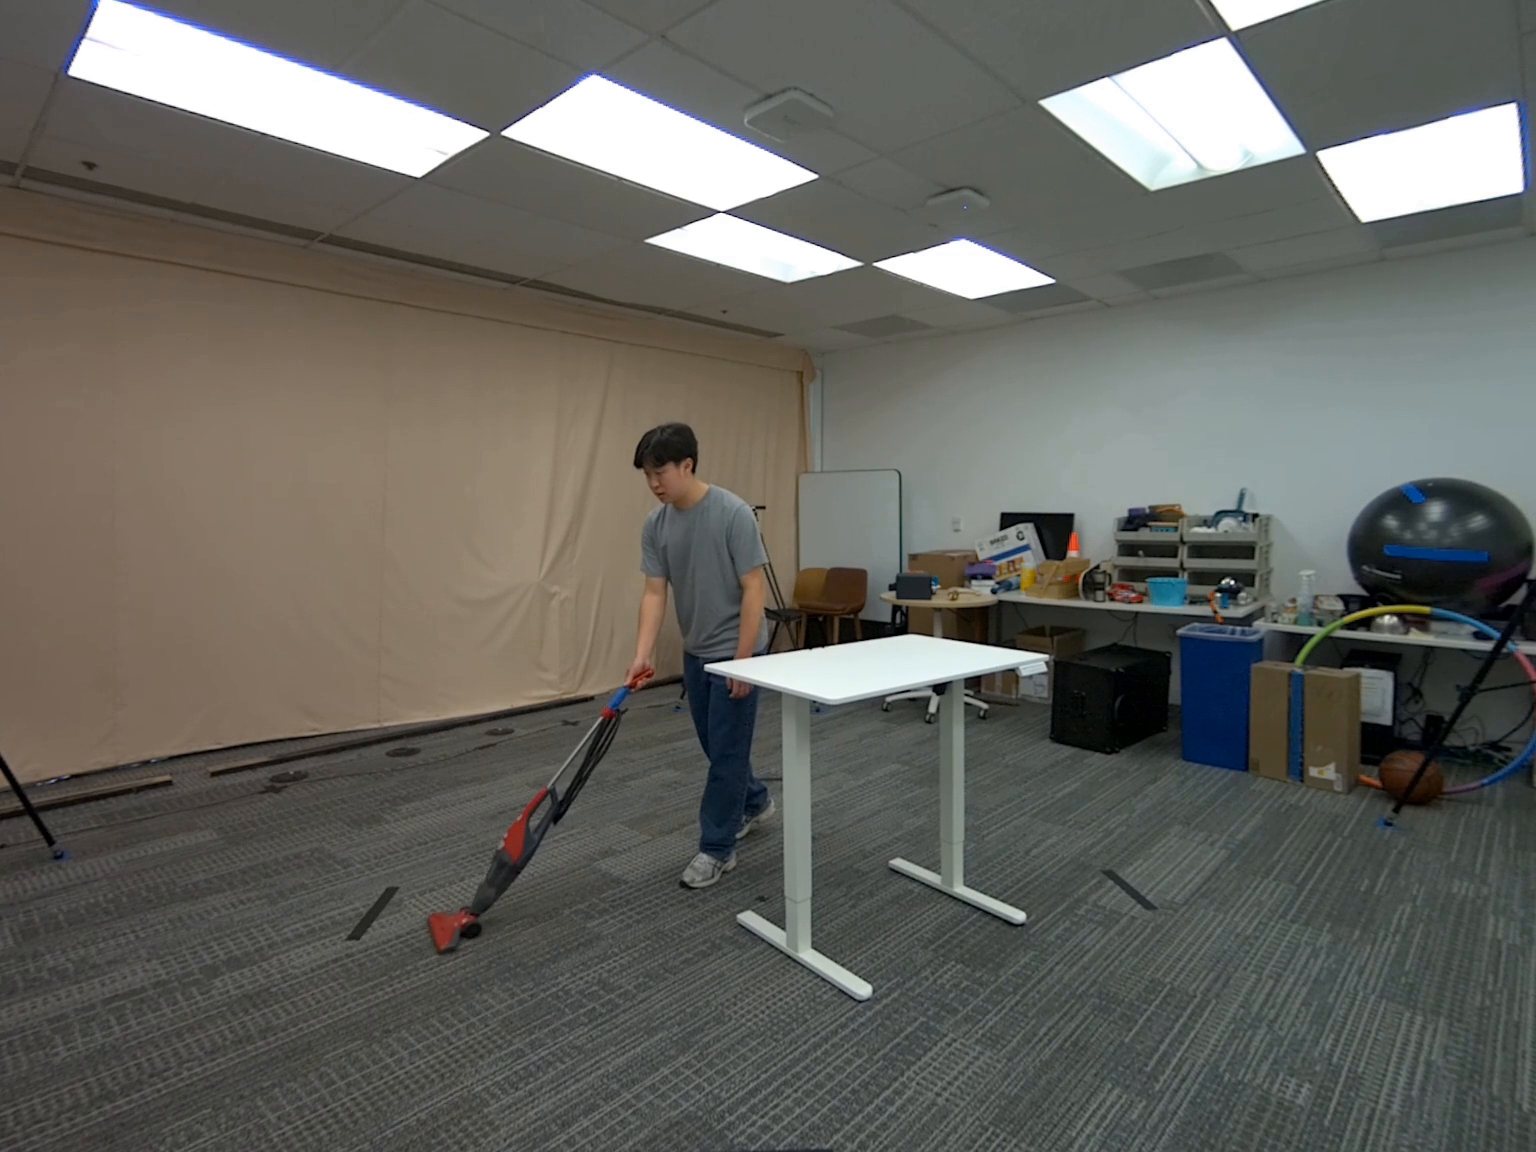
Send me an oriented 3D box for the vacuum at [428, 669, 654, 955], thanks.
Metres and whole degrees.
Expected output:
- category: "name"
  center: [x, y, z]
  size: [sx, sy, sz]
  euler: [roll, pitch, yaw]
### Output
- category: "vacuum"
  center: [-0.749, 0.760, 2.896]
  size: [0.140, 1.047, 0.260]
  euler: [43, -18, -26]
